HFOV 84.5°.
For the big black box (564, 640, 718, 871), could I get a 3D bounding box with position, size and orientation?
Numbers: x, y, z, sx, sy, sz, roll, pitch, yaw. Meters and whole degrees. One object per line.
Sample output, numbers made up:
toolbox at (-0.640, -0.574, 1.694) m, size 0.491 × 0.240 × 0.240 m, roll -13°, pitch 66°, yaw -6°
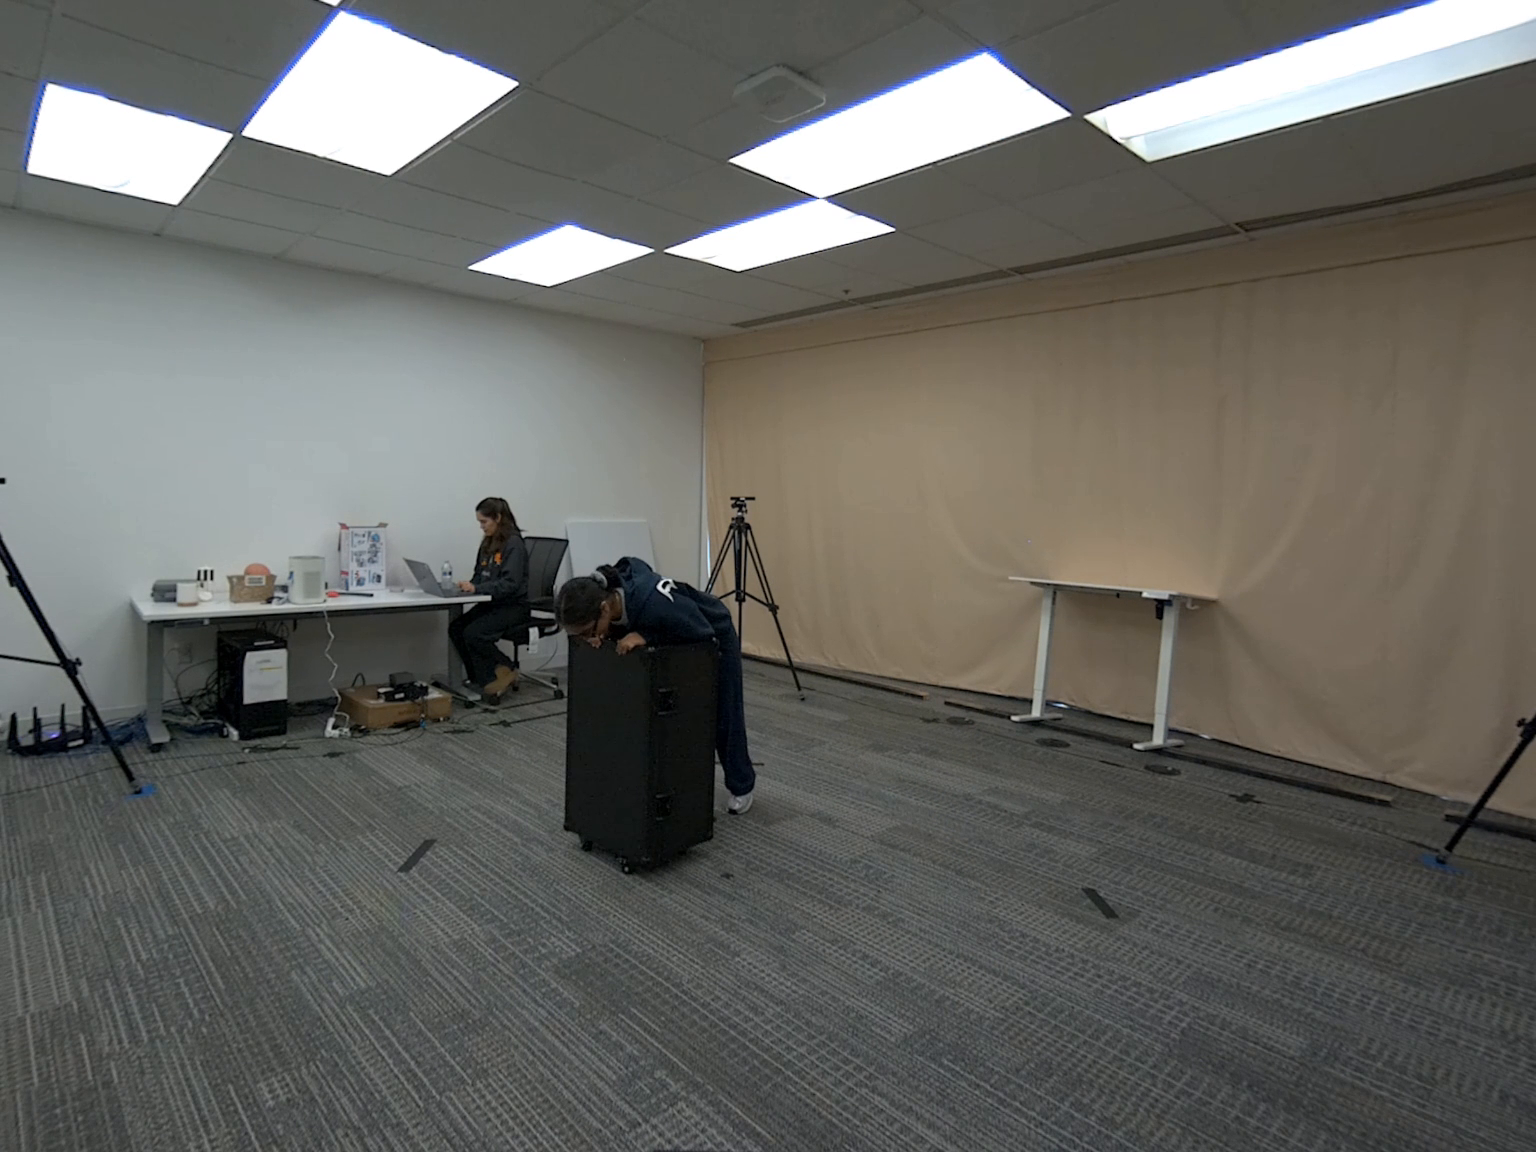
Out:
big black box at (-0.504, 0.664, 3.283) m, size 0.534 × 0.860 × 0.387 m, roll 4°, pitch 2°, yaw 40°
